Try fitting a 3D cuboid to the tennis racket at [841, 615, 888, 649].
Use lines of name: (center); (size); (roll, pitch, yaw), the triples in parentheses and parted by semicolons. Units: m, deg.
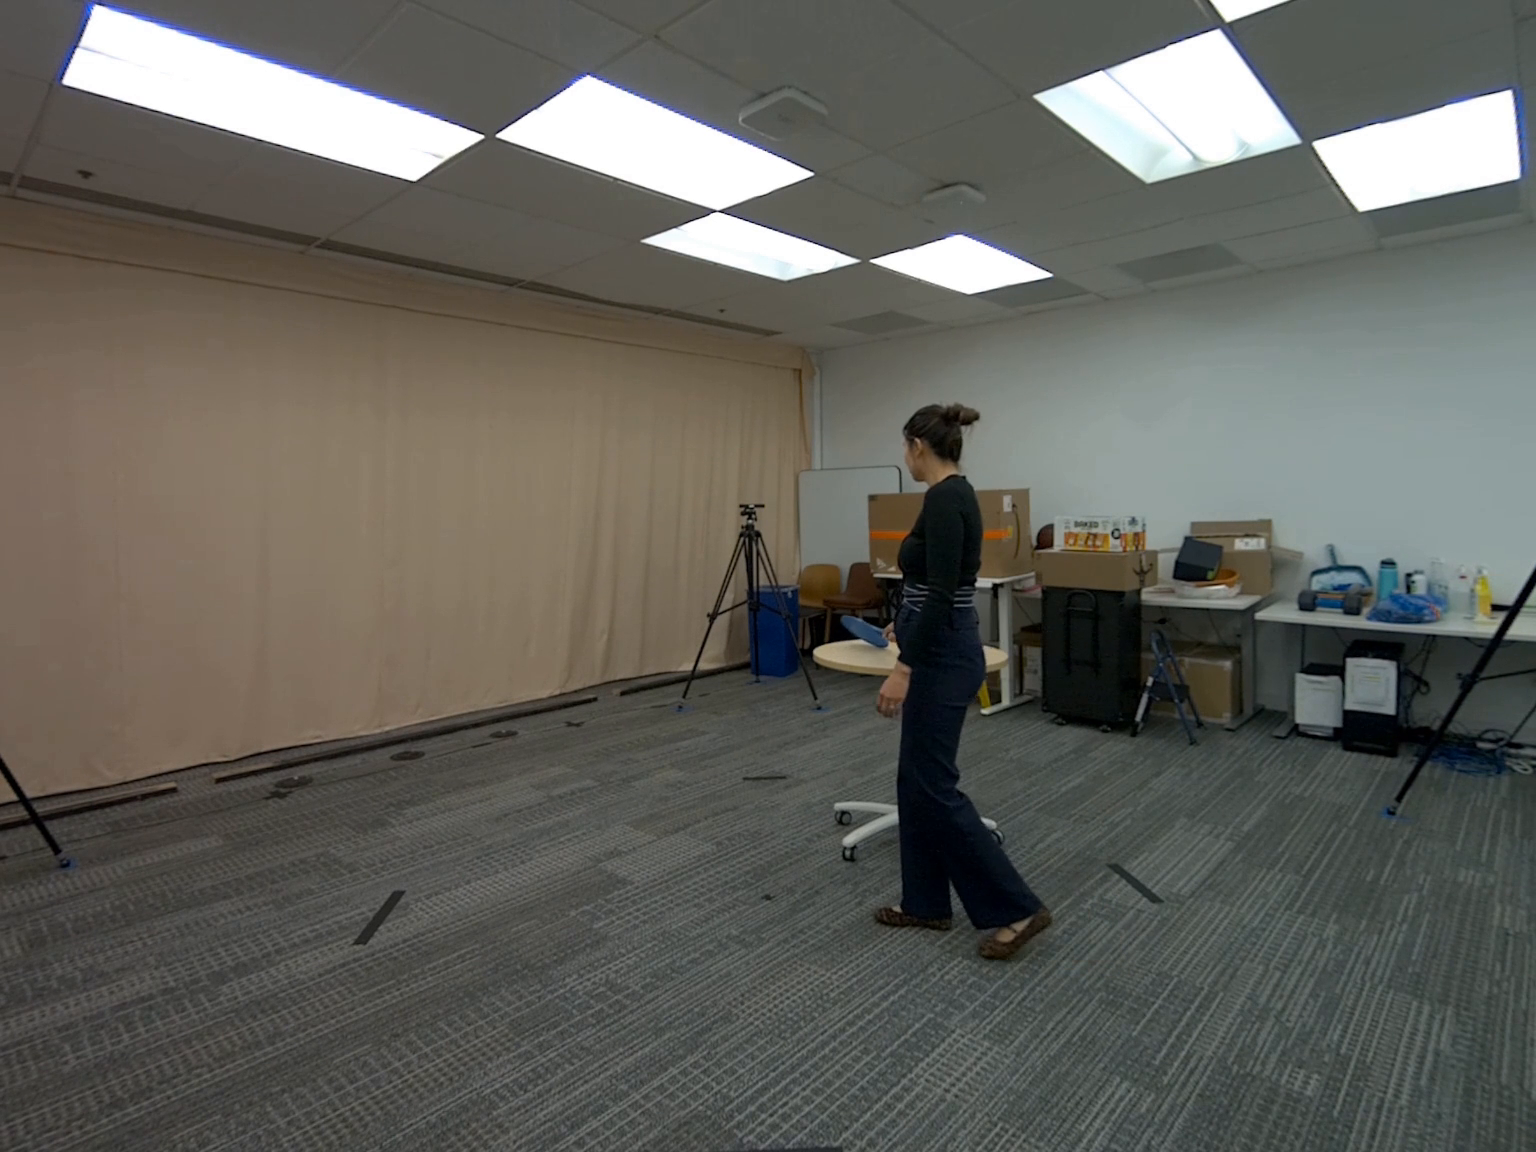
tennis racket: (0.442, 0.235, 3.429); (0.209, 0.032, 0.443); (41, -14, -20)
